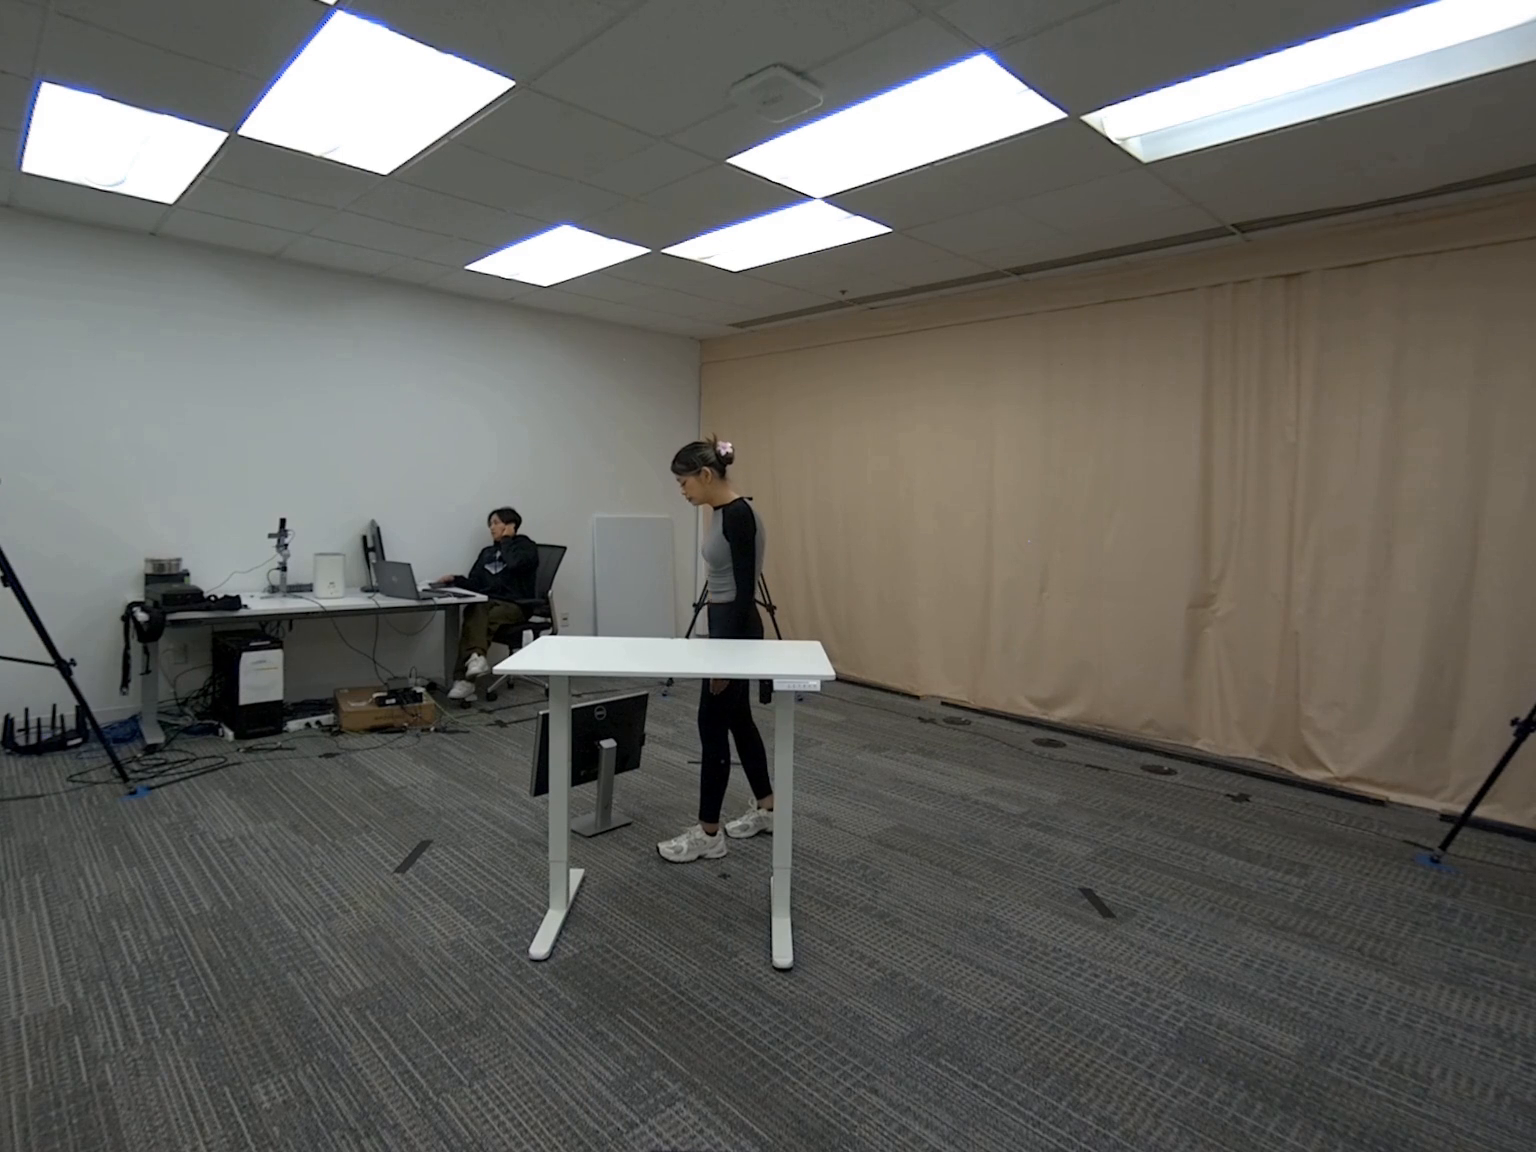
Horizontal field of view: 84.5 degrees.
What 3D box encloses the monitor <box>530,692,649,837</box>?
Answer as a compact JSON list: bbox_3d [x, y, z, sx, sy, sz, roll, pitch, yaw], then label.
[{"bbox_3d":[-0.729,0.791,3.556,0.191,0.522,0.527,1,3,41],"label":"monitor"}]
